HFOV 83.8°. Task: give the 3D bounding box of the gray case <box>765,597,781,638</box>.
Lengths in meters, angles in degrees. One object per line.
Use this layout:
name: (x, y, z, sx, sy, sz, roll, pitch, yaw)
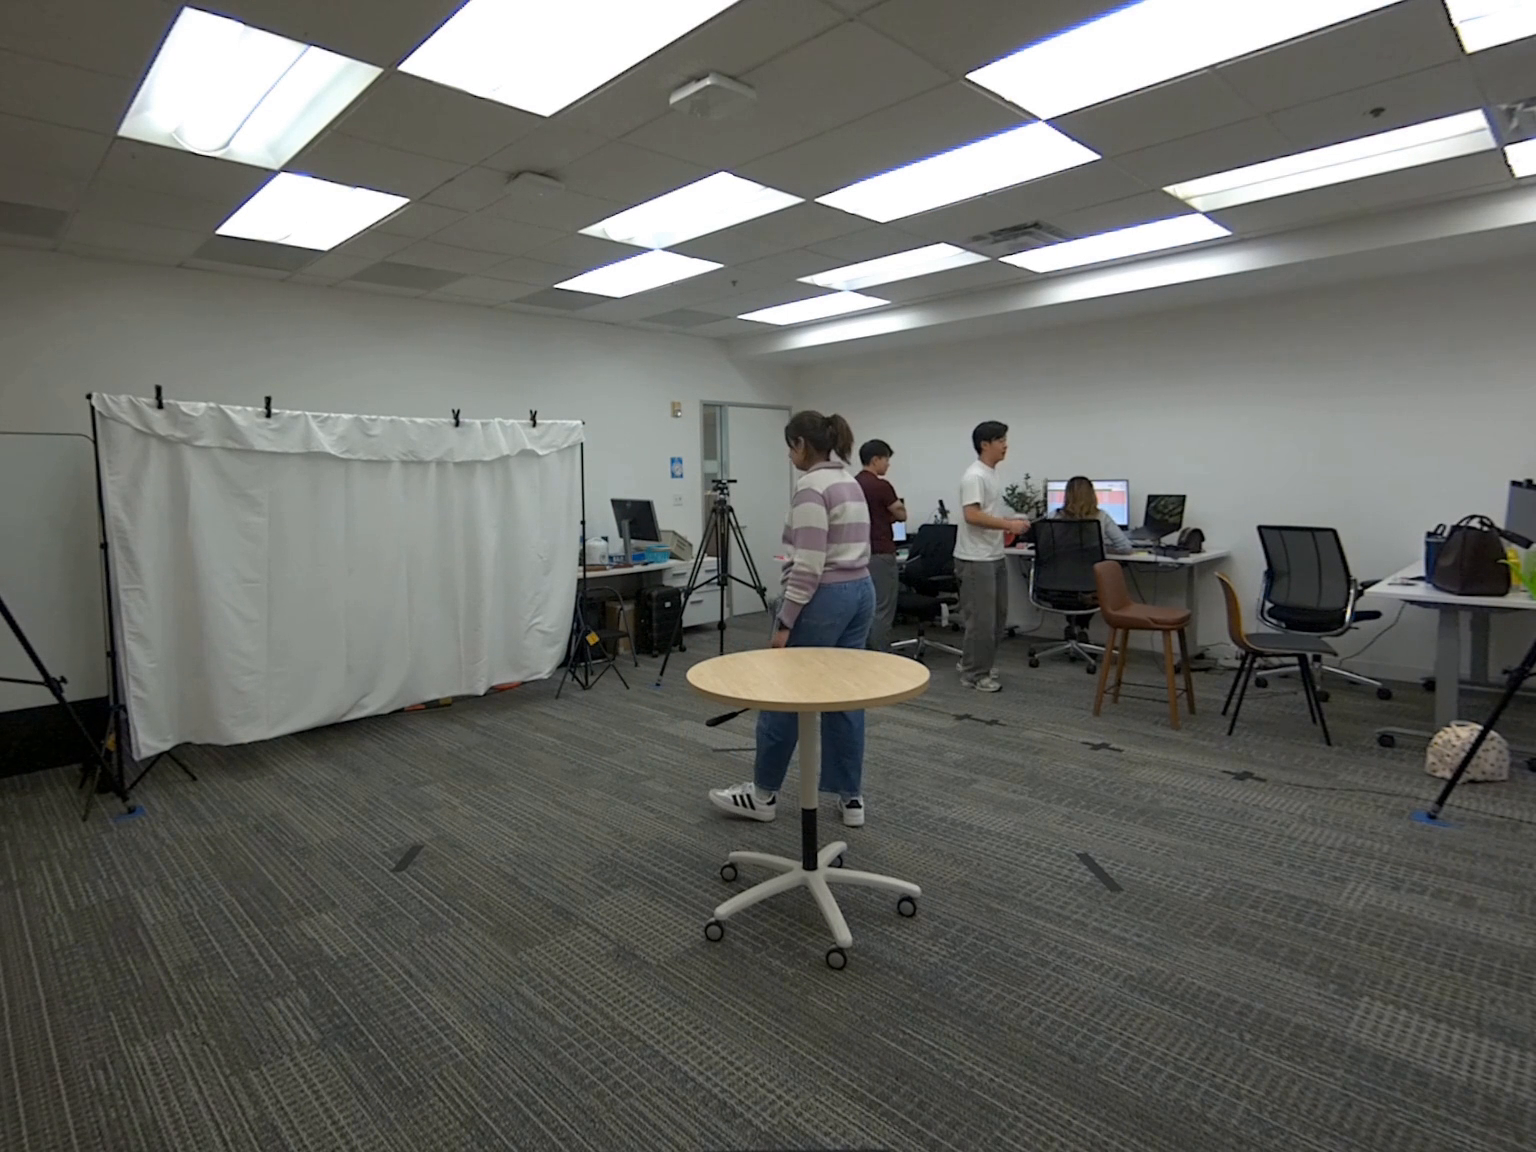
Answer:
gray case: (0.129, 0.190, 3.815, 0.252, 0.258, 0.107, -7, 12, -27)
